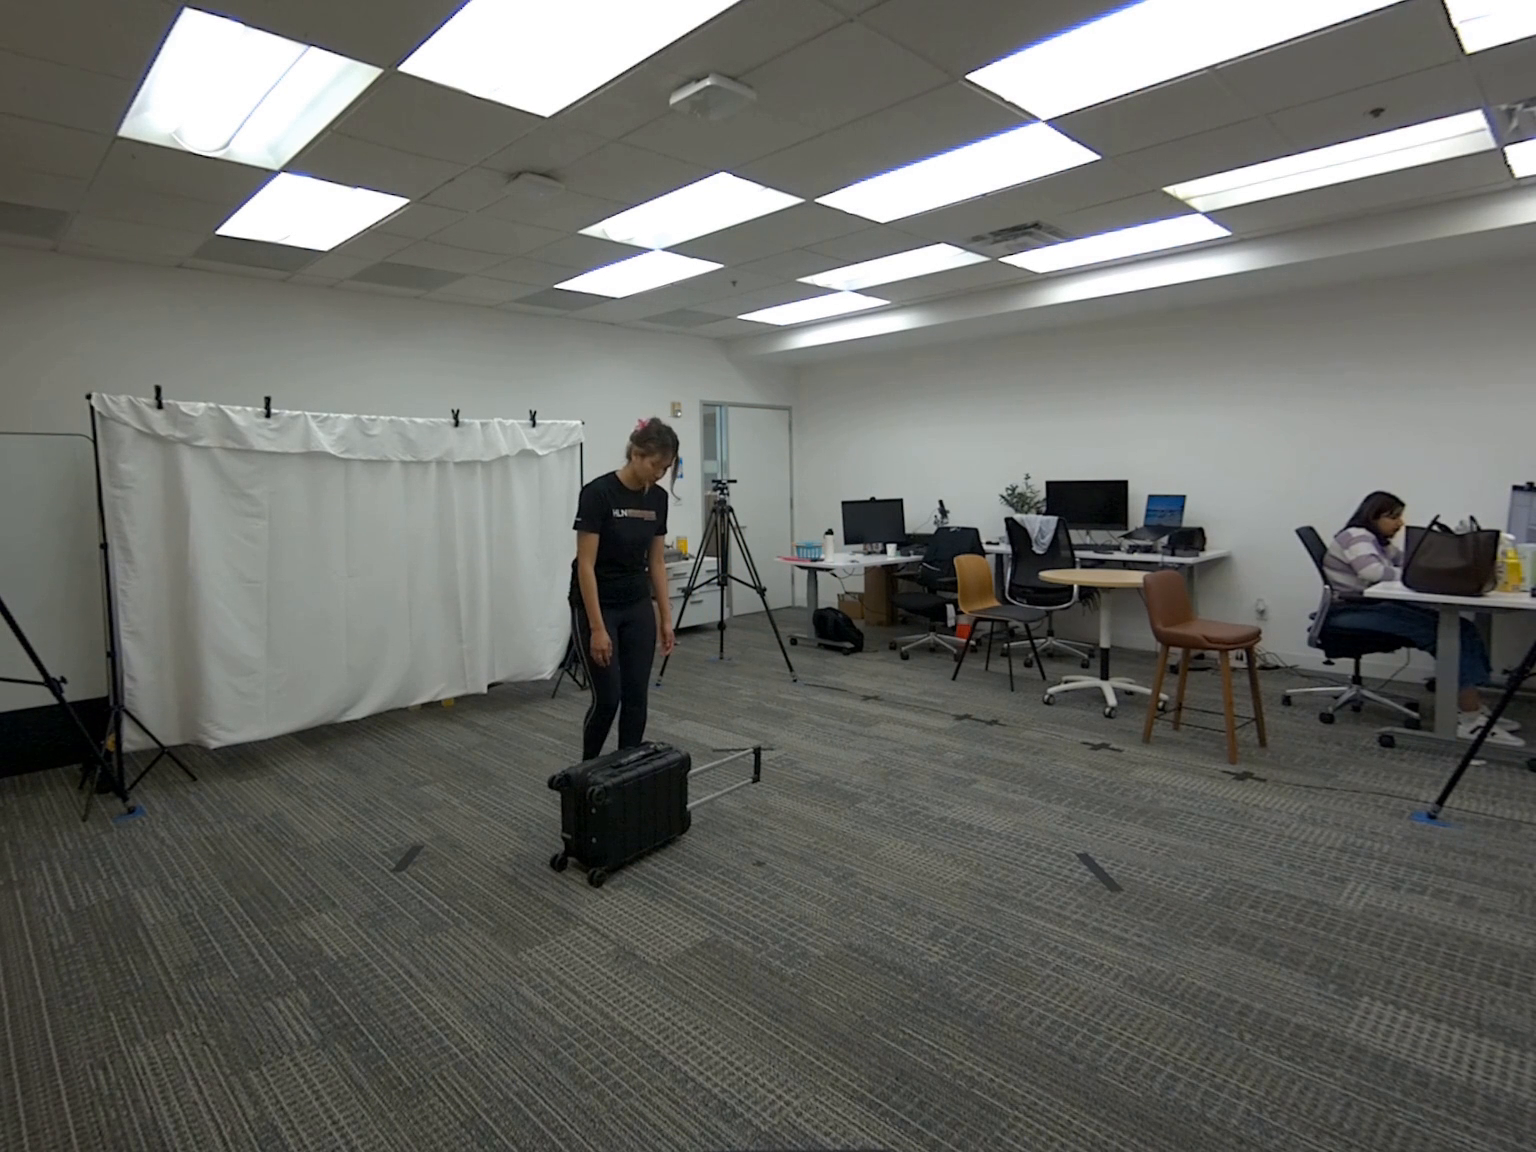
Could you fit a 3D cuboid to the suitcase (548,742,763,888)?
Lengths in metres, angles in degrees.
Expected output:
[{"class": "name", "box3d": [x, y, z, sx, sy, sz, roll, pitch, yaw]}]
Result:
[{"class": "suitcase", "box3d": [-0.411, 0.835, 3.376, 0.264, 0.382, 0.955, 3, 7, 35]}]
